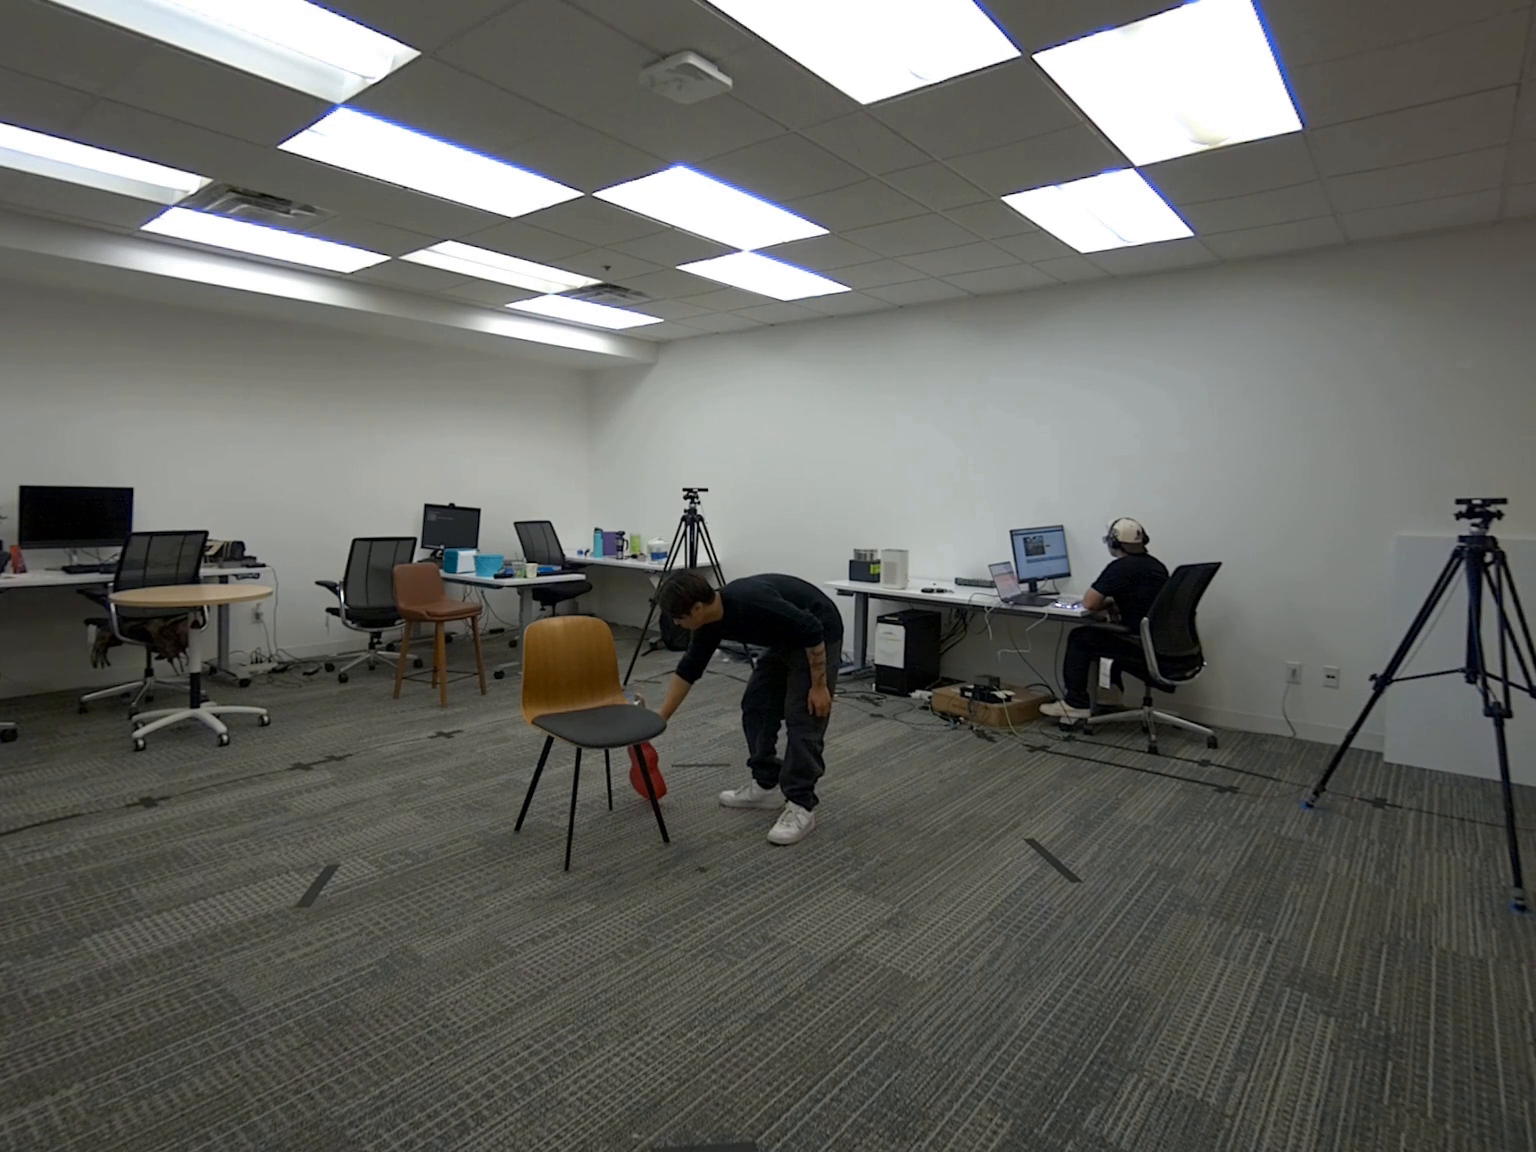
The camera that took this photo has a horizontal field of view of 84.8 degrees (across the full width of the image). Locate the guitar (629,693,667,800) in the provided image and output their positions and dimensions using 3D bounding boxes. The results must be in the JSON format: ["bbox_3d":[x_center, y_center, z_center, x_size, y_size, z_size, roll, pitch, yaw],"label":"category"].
[{"bbox_3d":[-0.574,0.734,3.715,0.069,0.490,0.199,-21,16,-37],"label":"guitar"}]
